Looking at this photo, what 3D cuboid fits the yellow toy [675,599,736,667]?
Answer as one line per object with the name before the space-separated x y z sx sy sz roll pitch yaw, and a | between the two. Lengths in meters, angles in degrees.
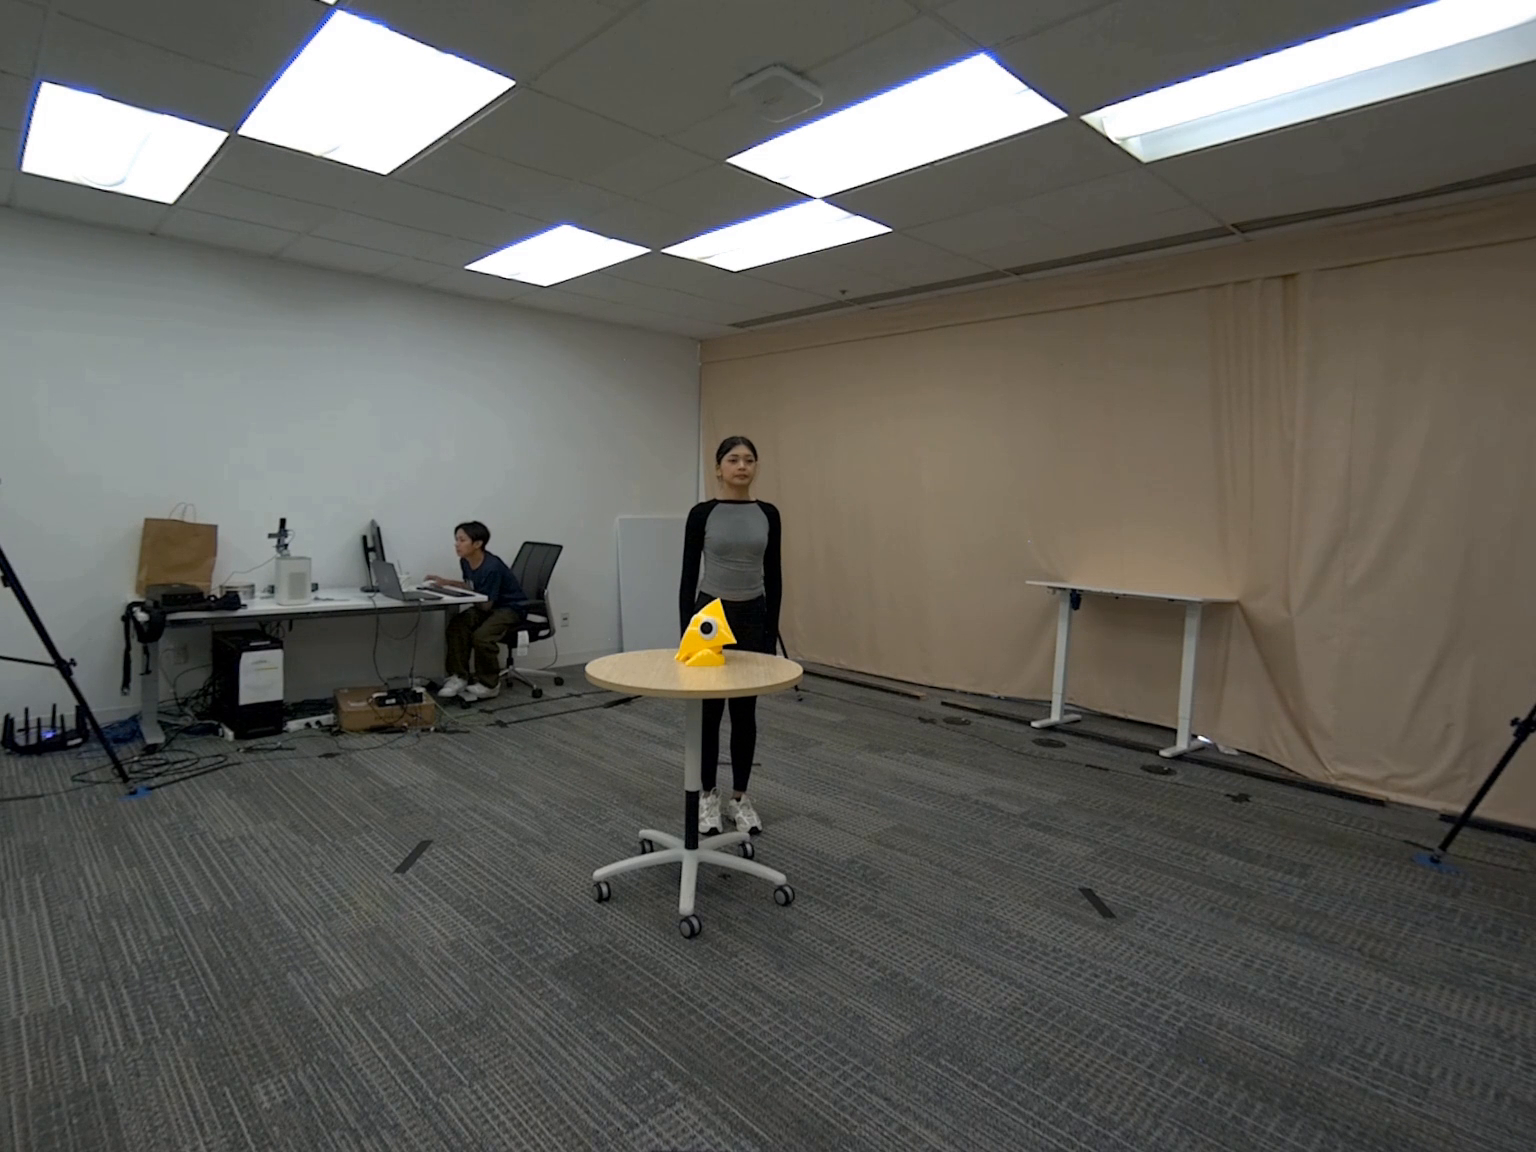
yellow toy | -0.249 0.200 3.088 0.190 0.230 0.209 -1 3 -24
